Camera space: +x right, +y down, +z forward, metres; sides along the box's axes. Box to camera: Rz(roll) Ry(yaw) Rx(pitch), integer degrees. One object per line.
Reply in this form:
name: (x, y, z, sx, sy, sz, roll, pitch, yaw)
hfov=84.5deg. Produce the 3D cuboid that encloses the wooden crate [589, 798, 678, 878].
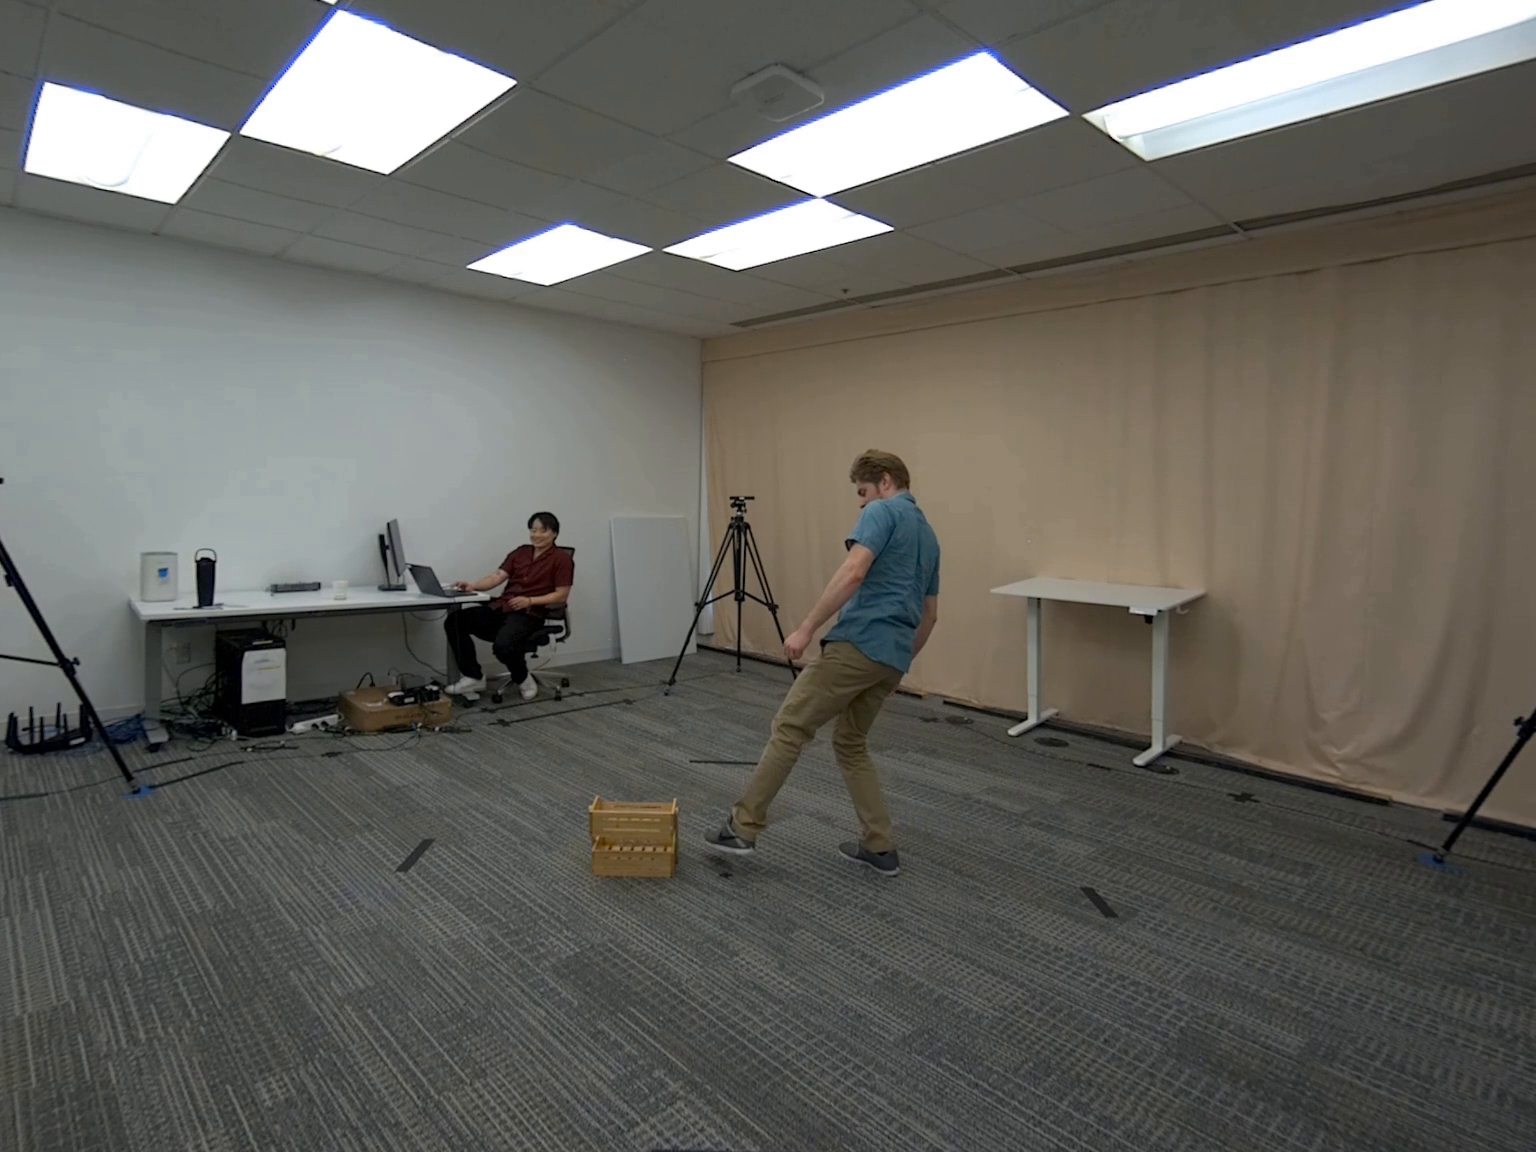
wooden crate: (-0.508, 0.954, 3.169, 0.324, 0.272, 0.303, 2, 5, -2)
